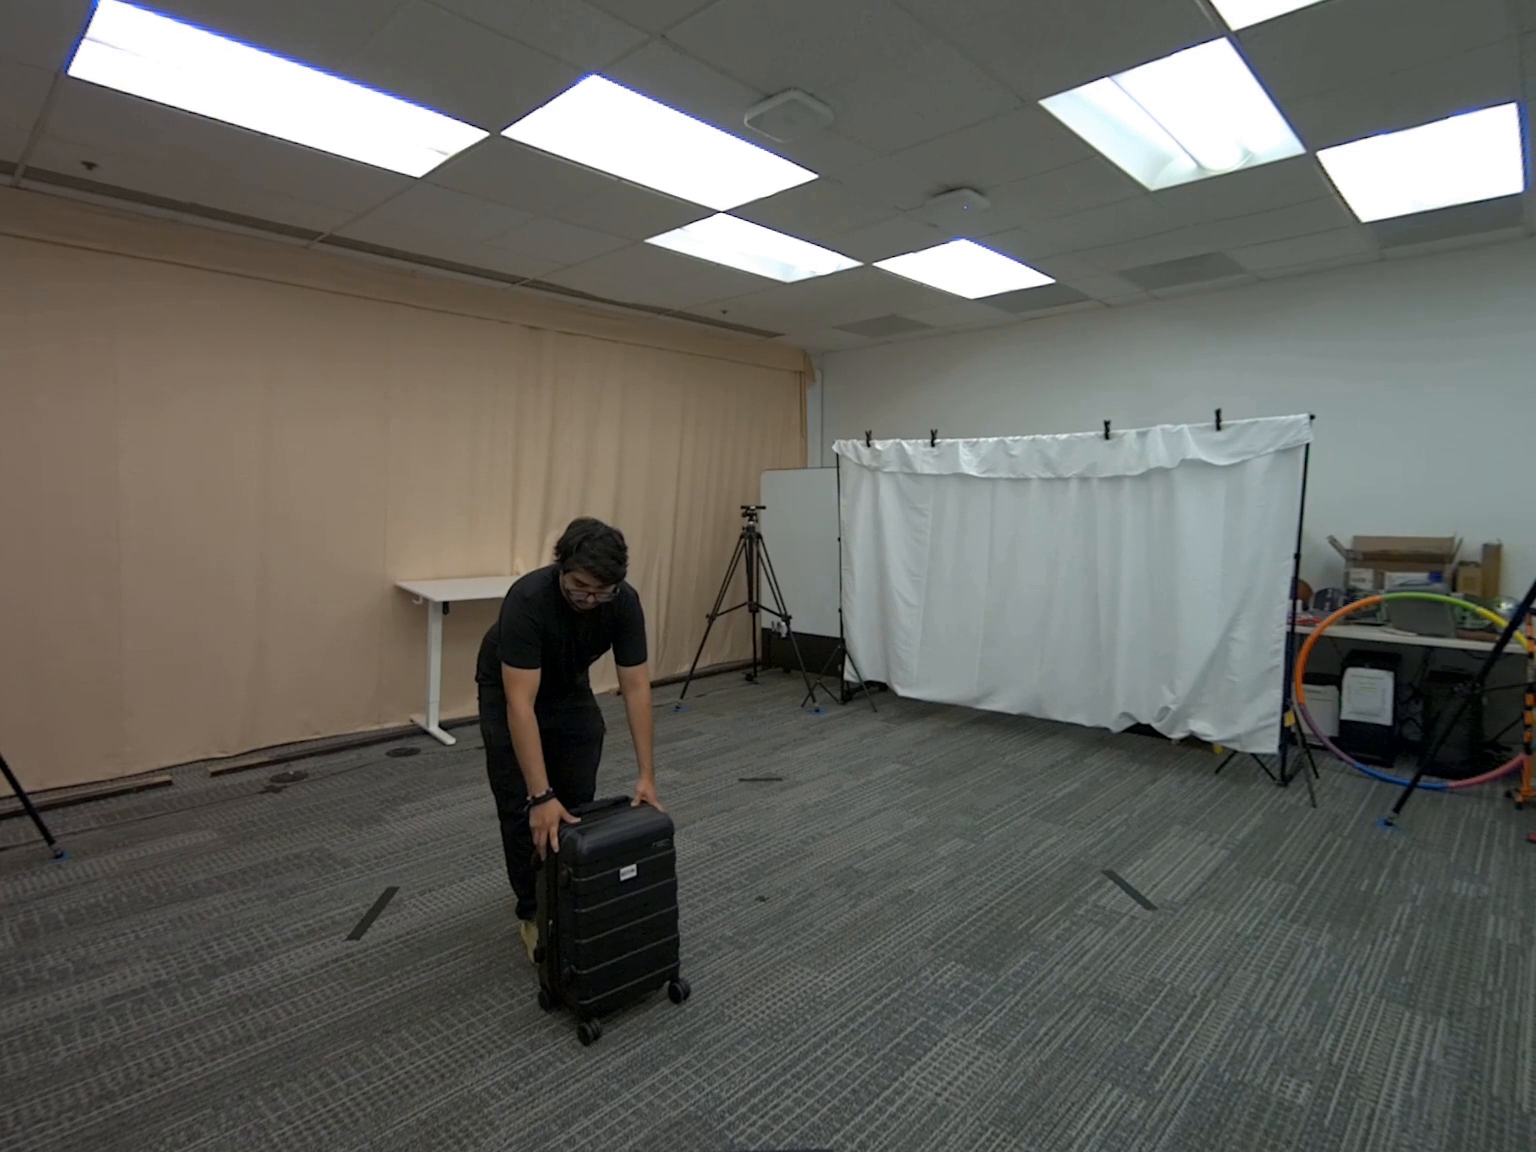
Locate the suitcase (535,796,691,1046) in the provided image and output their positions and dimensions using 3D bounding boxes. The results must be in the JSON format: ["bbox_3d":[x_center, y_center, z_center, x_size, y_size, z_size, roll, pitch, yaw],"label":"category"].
[{"bbox_3d":[-0.445,0.925,2.361,0.364,0.548,0.256,-4,3,-41],"label":"suitcase"}]
